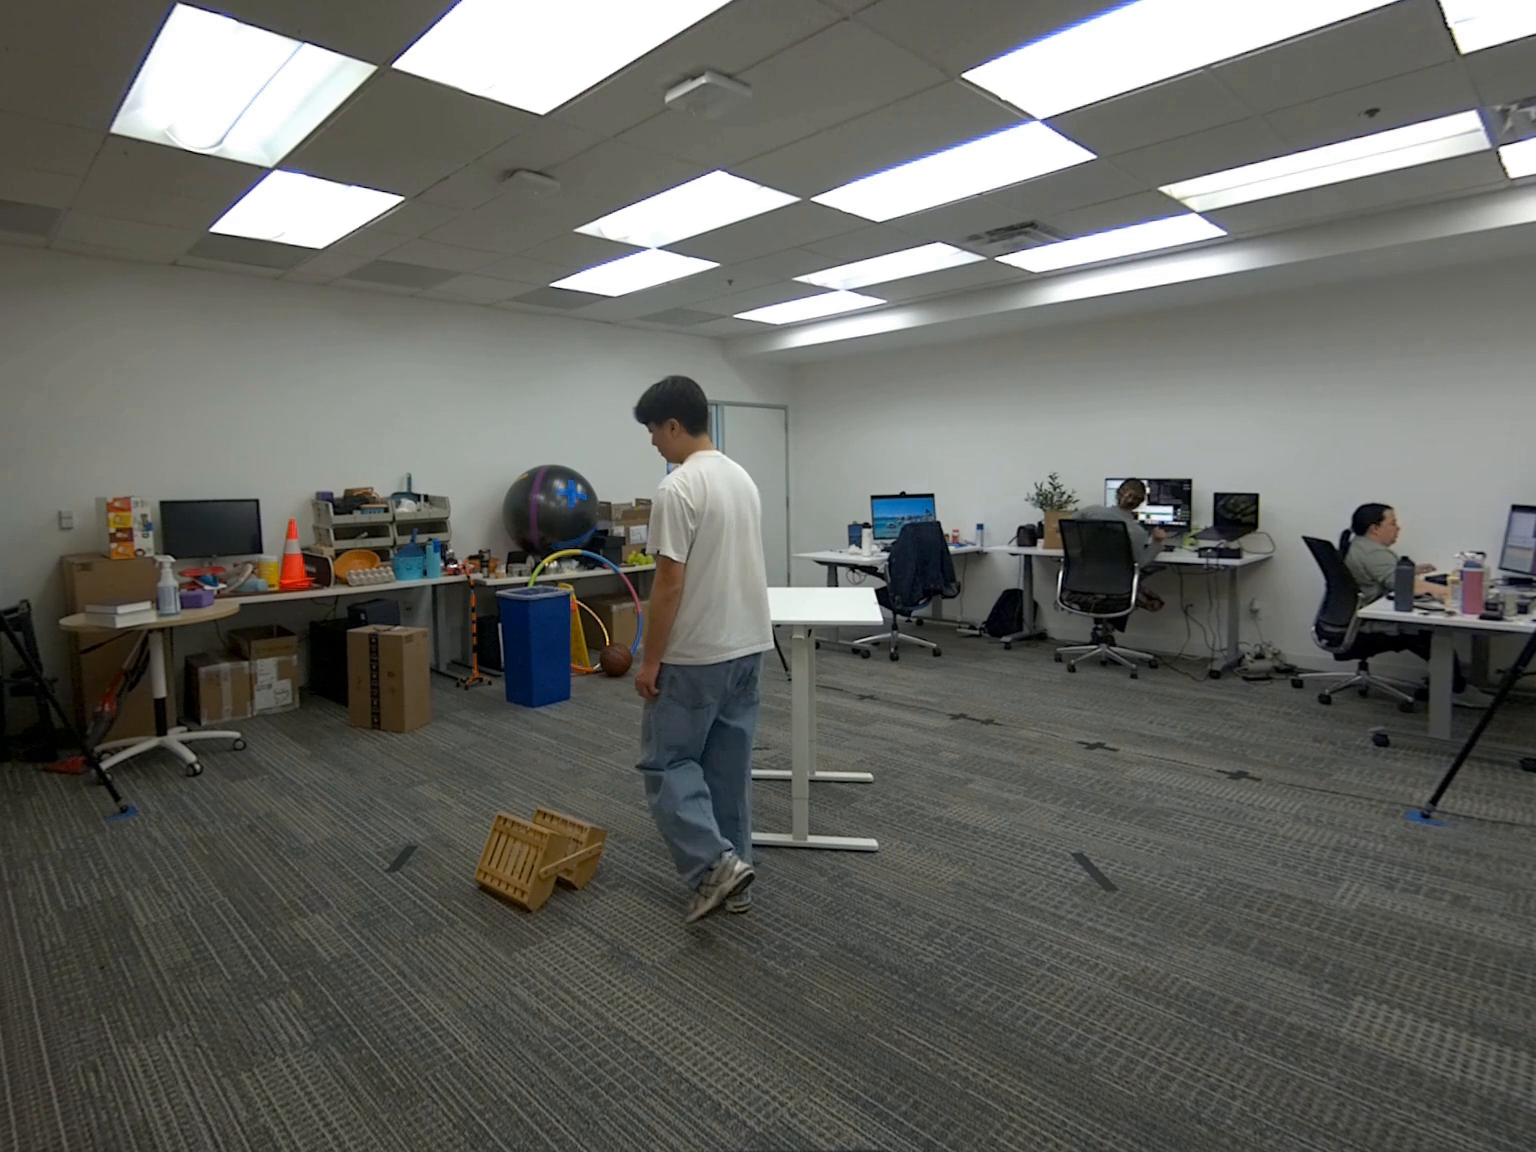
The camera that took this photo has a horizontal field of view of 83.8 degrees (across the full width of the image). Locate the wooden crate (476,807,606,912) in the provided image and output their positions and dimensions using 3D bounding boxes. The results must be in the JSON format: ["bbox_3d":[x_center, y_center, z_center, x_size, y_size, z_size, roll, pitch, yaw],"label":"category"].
[{"bbox_3d":[-0.789,0.985,2.990,0.334,0.305,0.263,4,-21,39],"label":"wooden crate"}]
